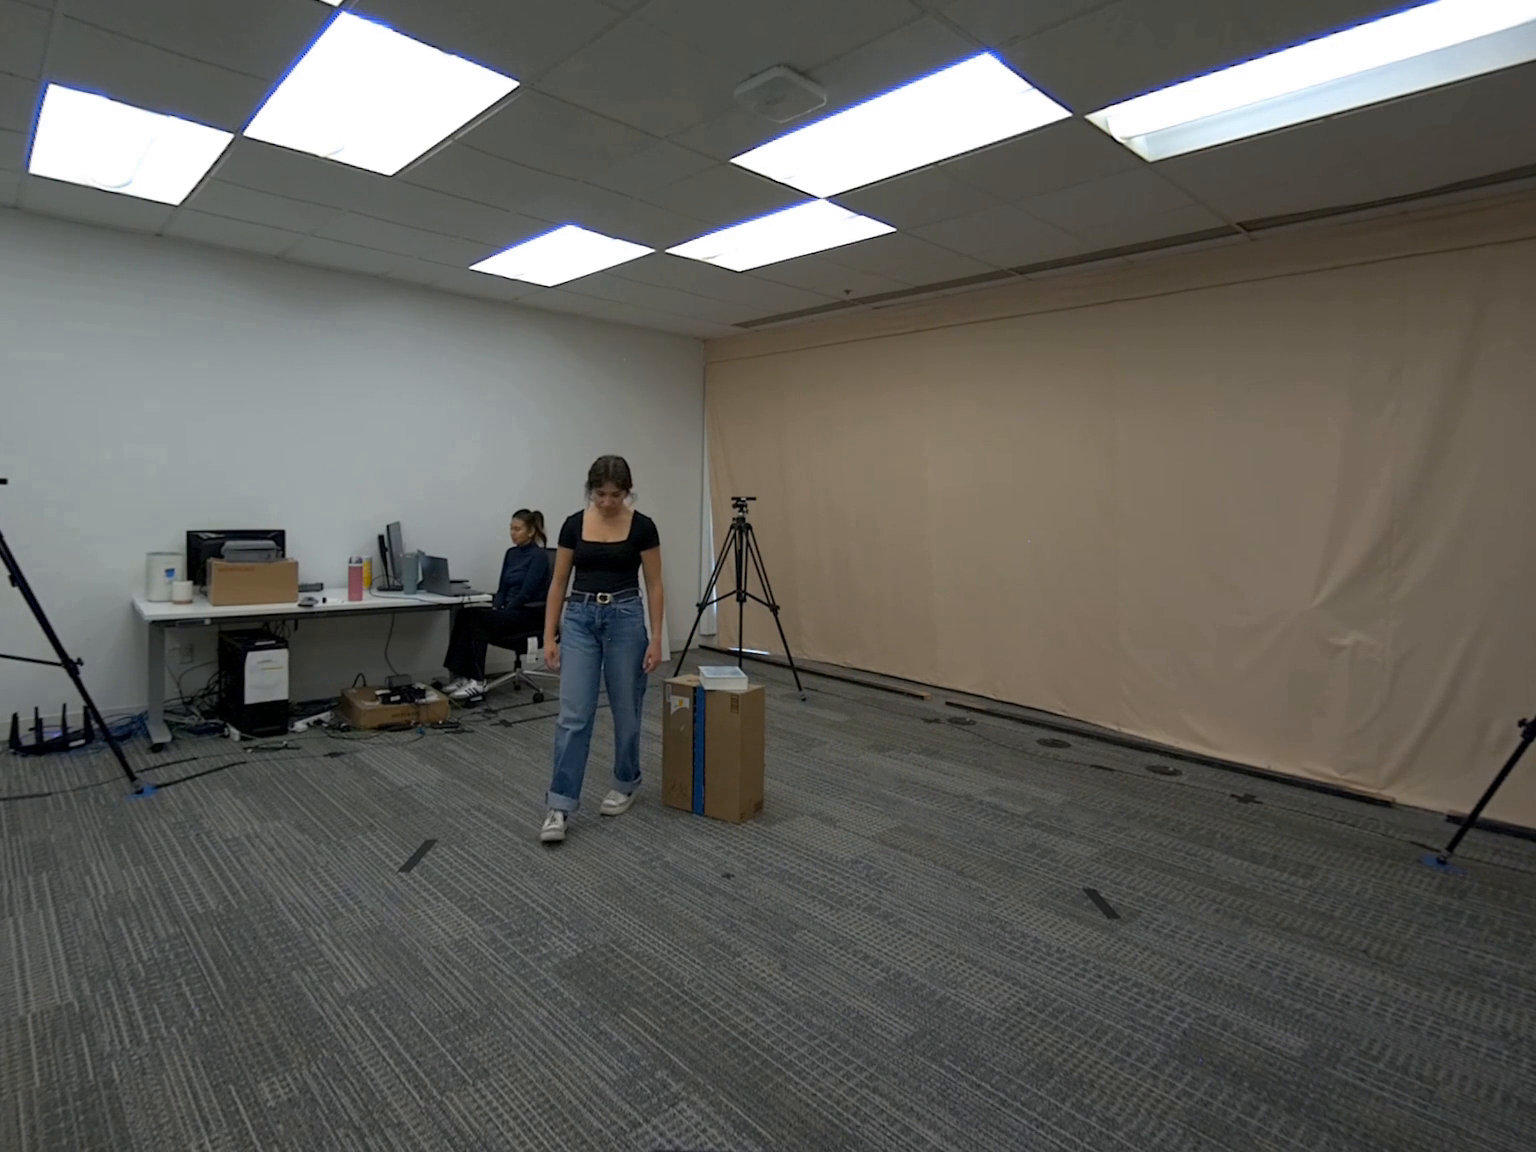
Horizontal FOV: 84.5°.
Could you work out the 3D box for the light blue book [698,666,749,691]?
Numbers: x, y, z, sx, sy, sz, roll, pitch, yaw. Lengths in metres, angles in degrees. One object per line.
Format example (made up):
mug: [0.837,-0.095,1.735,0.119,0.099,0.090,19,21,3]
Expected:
light blue book: [-0.217,0.454,3.775,0.190,0.059,0.264,1,5,-11]
